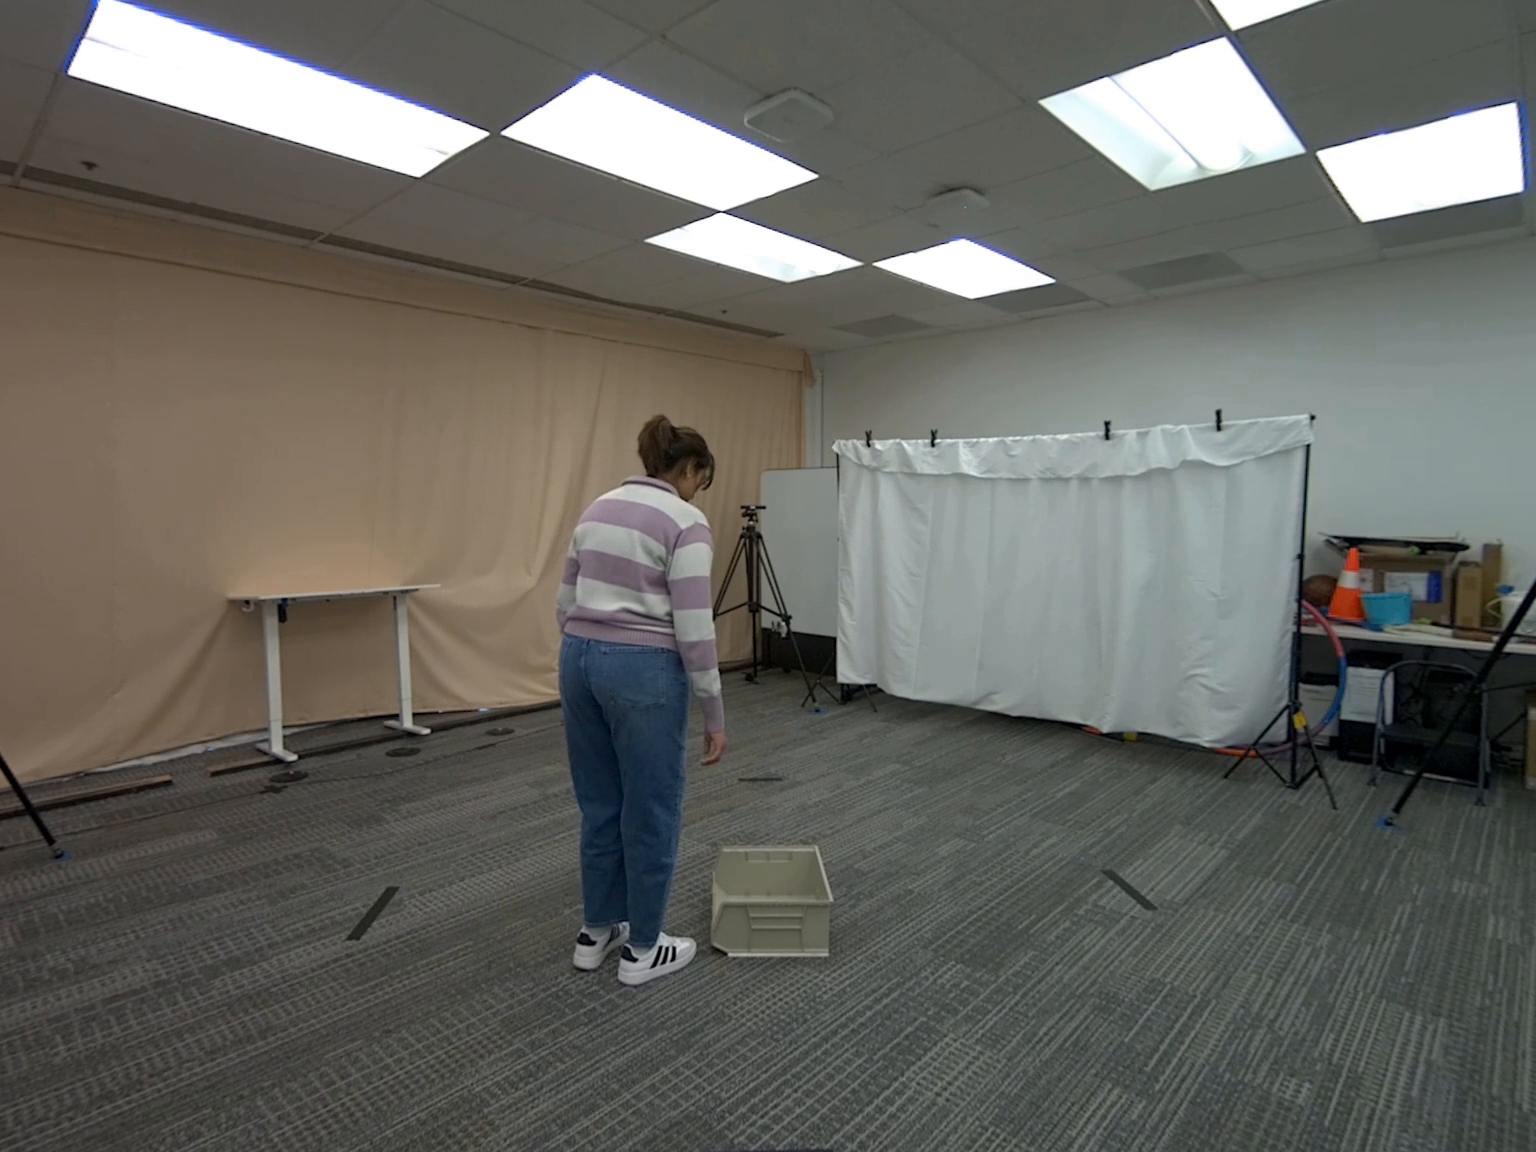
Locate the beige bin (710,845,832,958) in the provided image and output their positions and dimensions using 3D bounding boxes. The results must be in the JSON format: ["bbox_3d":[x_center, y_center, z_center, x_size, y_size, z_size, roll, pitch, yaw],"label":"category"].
[{"bbox_3d":[0.005,1.070,2.794,0.377,0.188,0.424,0,4,-2],"label":"beige bin"}]
